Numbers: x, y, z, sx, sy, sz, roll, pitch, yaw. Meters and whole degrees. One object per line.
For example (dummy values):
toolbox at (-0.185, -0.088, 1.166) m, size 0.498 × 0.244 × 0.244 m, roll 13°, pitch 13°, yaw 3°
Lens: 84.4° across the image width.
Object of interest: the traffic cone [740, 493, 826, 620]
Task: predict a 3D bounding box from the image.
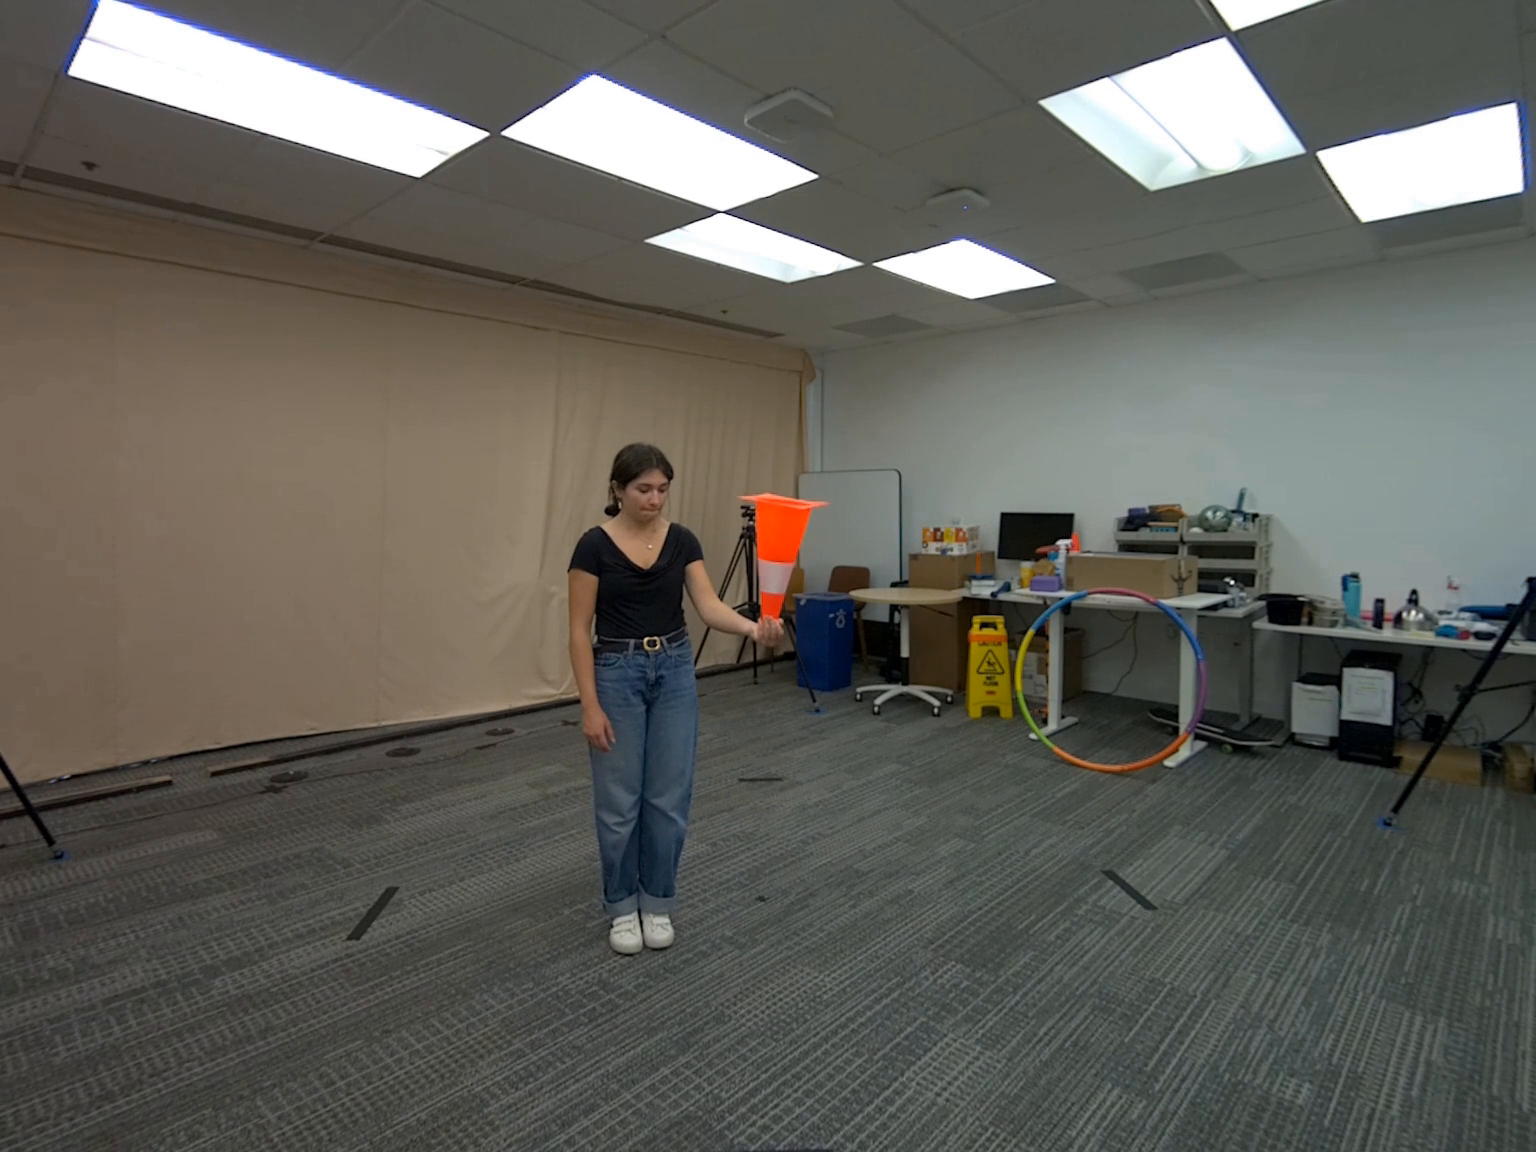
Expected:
traffic cone at (0.033, -0.019, 2.335) m, size 0.207 × 0.382 × 0.202 m, roll 8°, pitch 6°, yaw 16°
